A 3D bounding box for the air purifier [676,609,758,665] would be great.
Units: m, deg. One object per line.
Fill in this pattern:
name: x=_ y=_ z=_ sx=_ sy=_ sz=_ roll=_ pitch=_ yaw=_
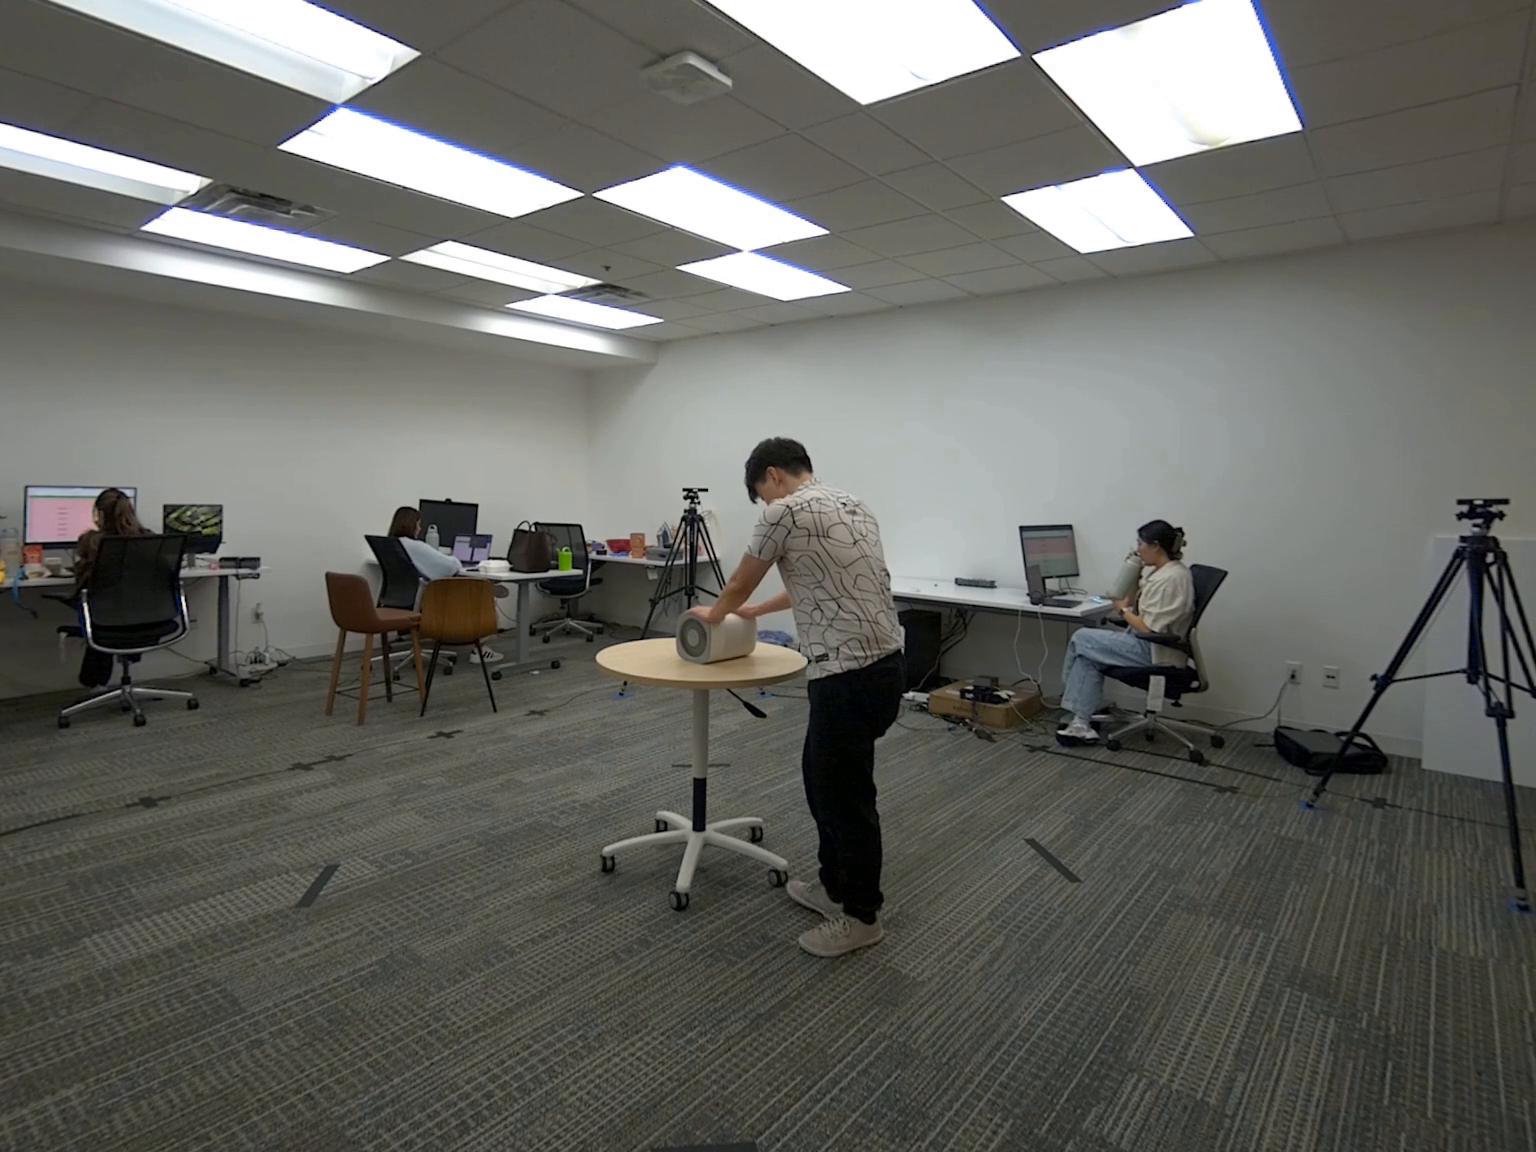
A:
air purifier: x=-0.191 y=0.203 z=3.080 sx=0.177 sy=0.170 sz=0.257 roll=10 pitch=9 yaw=42
